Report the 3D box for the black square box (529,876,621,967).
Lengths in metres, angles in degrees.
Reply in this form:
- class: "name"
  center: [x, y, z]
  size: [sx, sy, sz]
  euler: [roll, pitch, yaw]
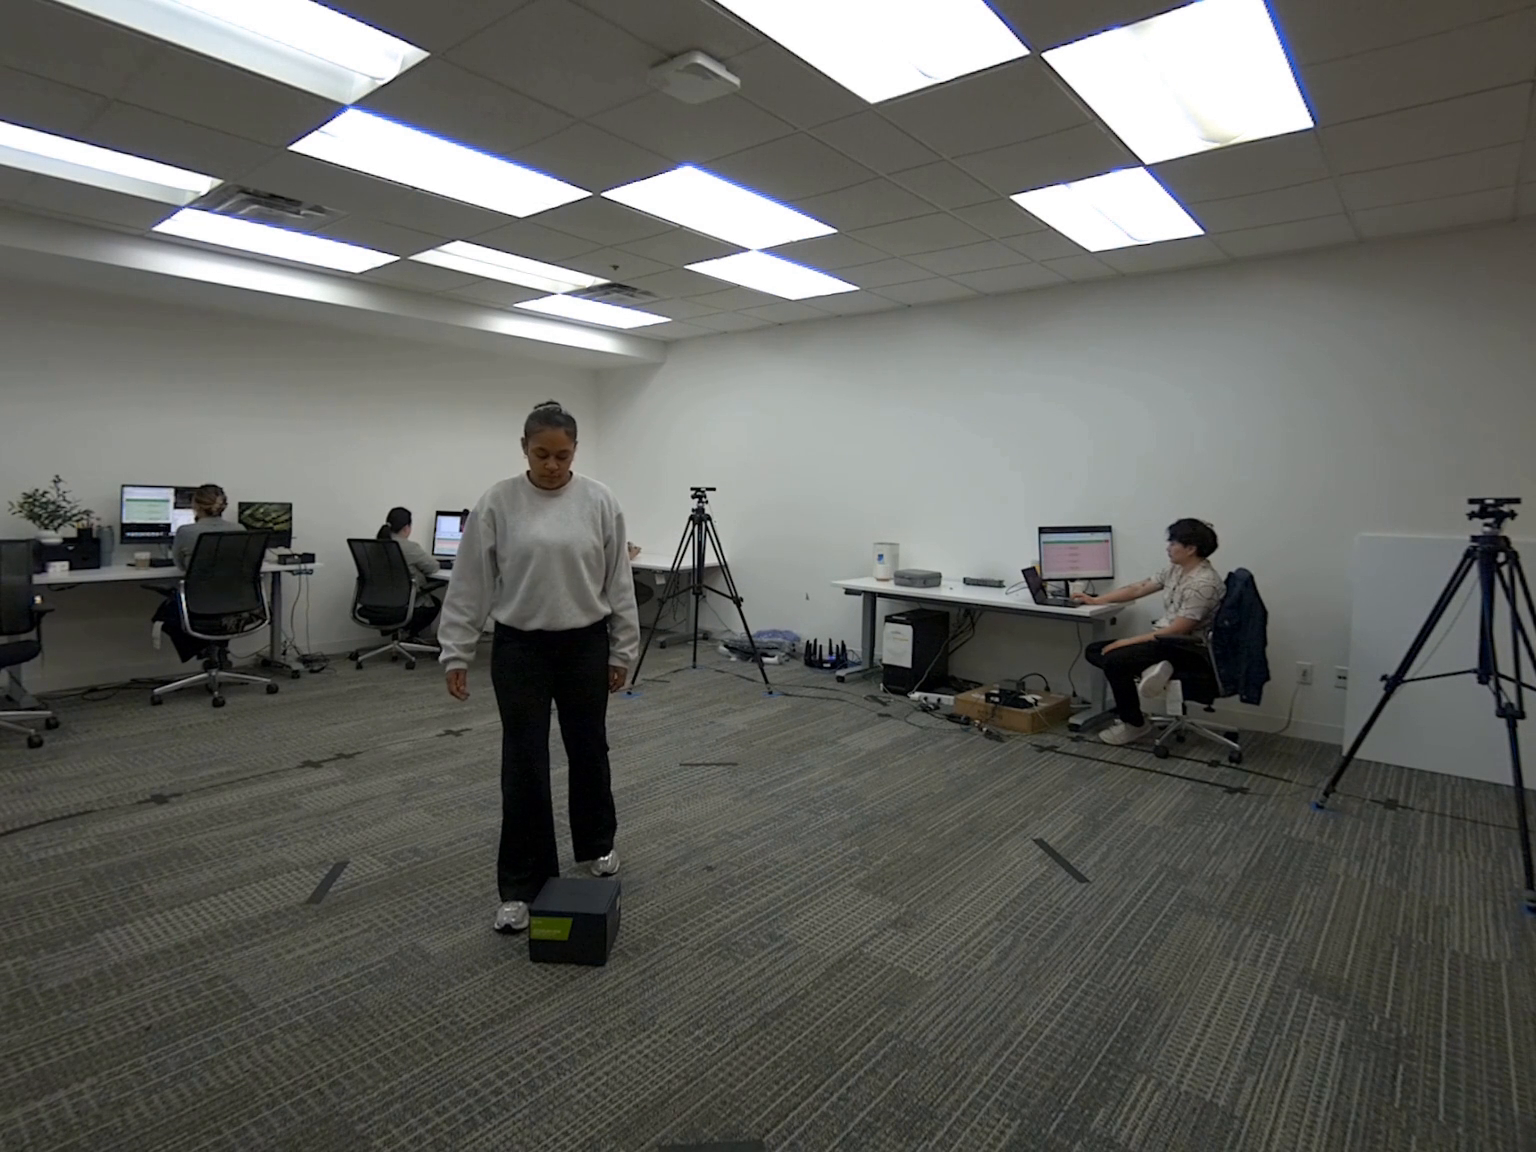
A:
- class: "black square box"
  center: [-0.587, 1.032, 2.564]
  size: [0.229, 0.155, 0.217]
  euler: [1, 5, 3]
